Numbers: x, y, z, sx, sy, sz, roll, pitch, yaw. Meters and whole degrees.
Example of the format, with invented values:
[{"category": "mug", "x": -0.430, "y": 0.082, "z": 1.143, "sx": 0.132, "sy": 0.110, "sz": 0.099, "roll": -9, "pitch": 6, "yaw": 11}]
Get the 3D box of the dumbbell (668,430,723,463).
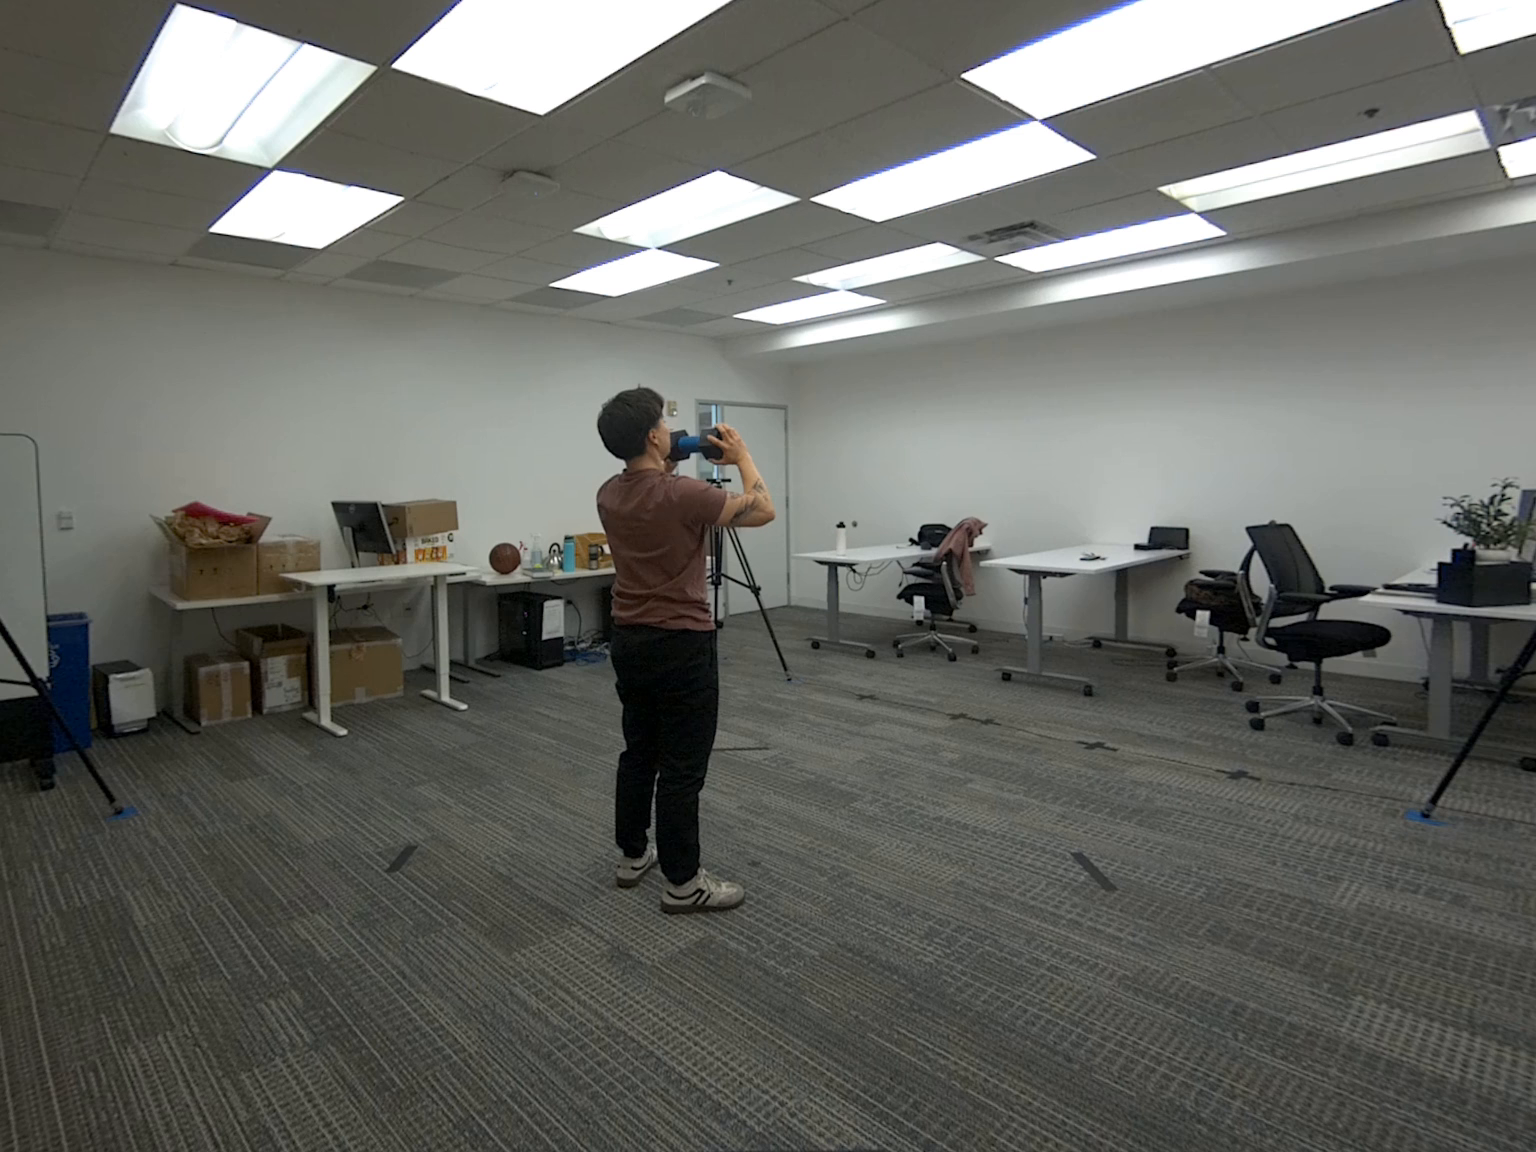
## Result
[{"category": "dumbbell", "x": -0.248, "y": -0.461, "z": 2.963, "sx": 0.303, "sy": 0.119, "sz": 0.109, "roll": 5, "pitch": 48, "yaw": 44}]
